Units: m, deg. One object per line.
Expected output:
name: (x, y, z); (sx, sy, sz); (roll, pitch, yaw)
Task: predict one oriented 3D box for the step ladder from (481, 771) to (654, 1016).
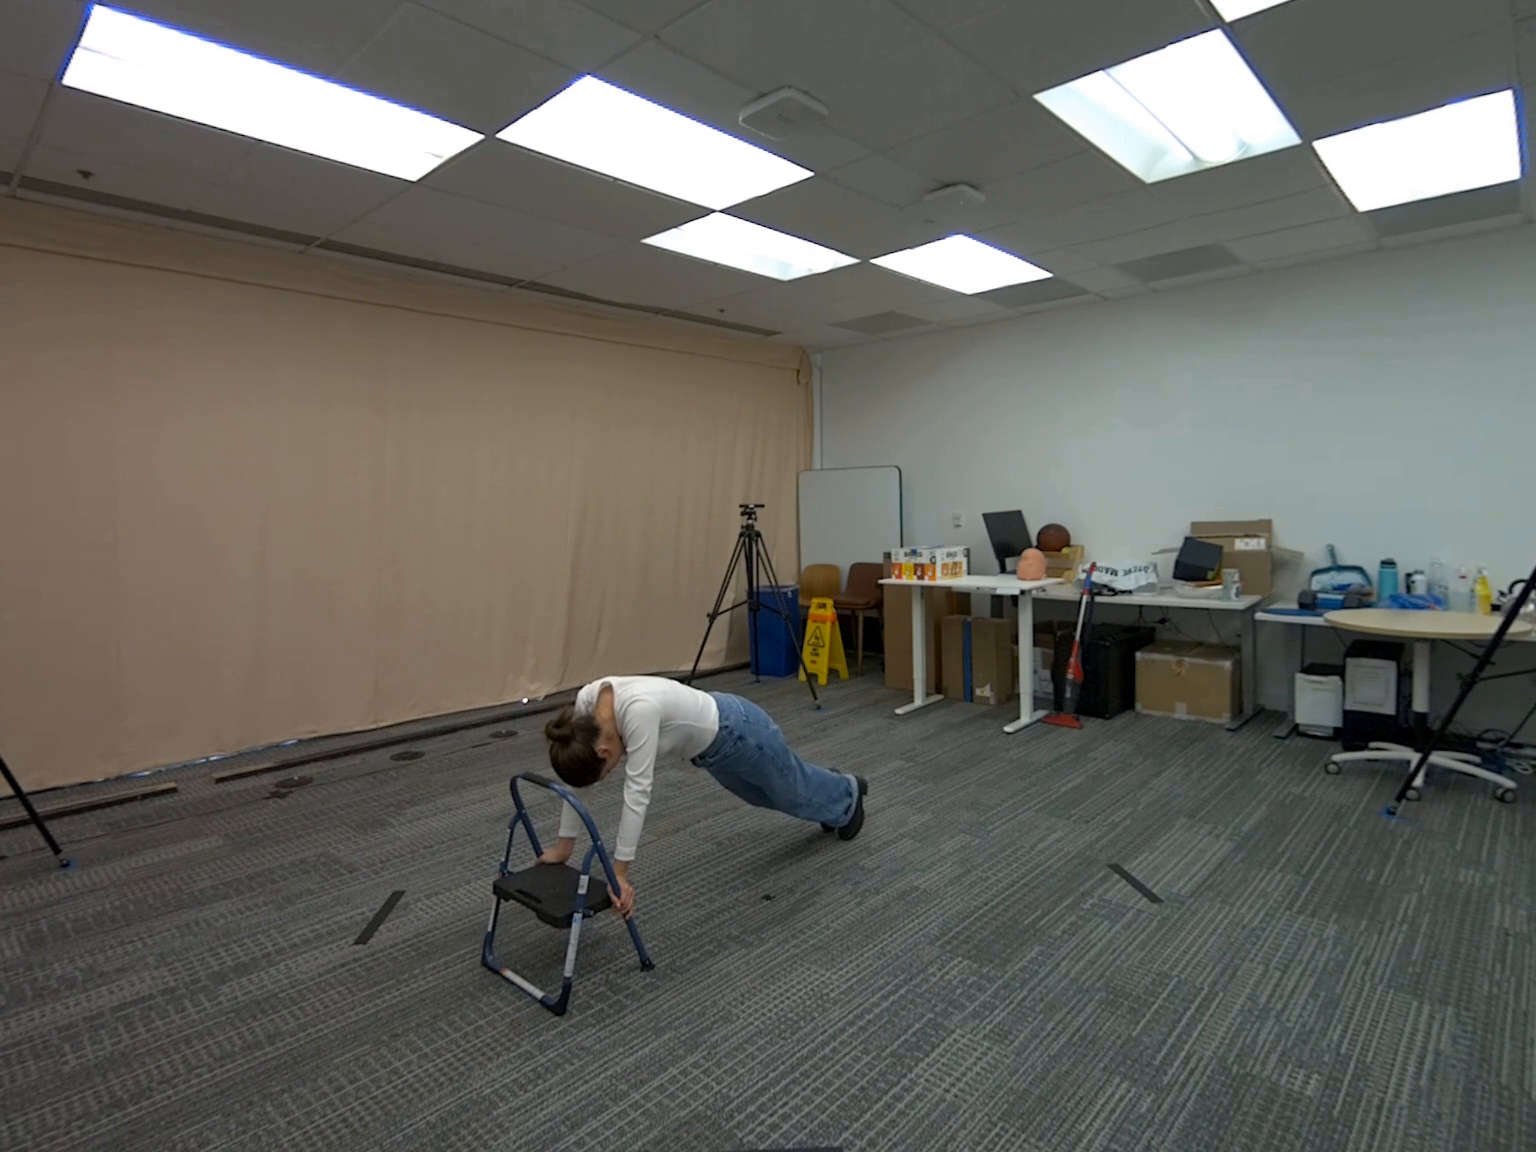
step ladder: (-0.622, 0.891, 2.548); (0.445, 0.605, 0.339); (2, 4, 41)
